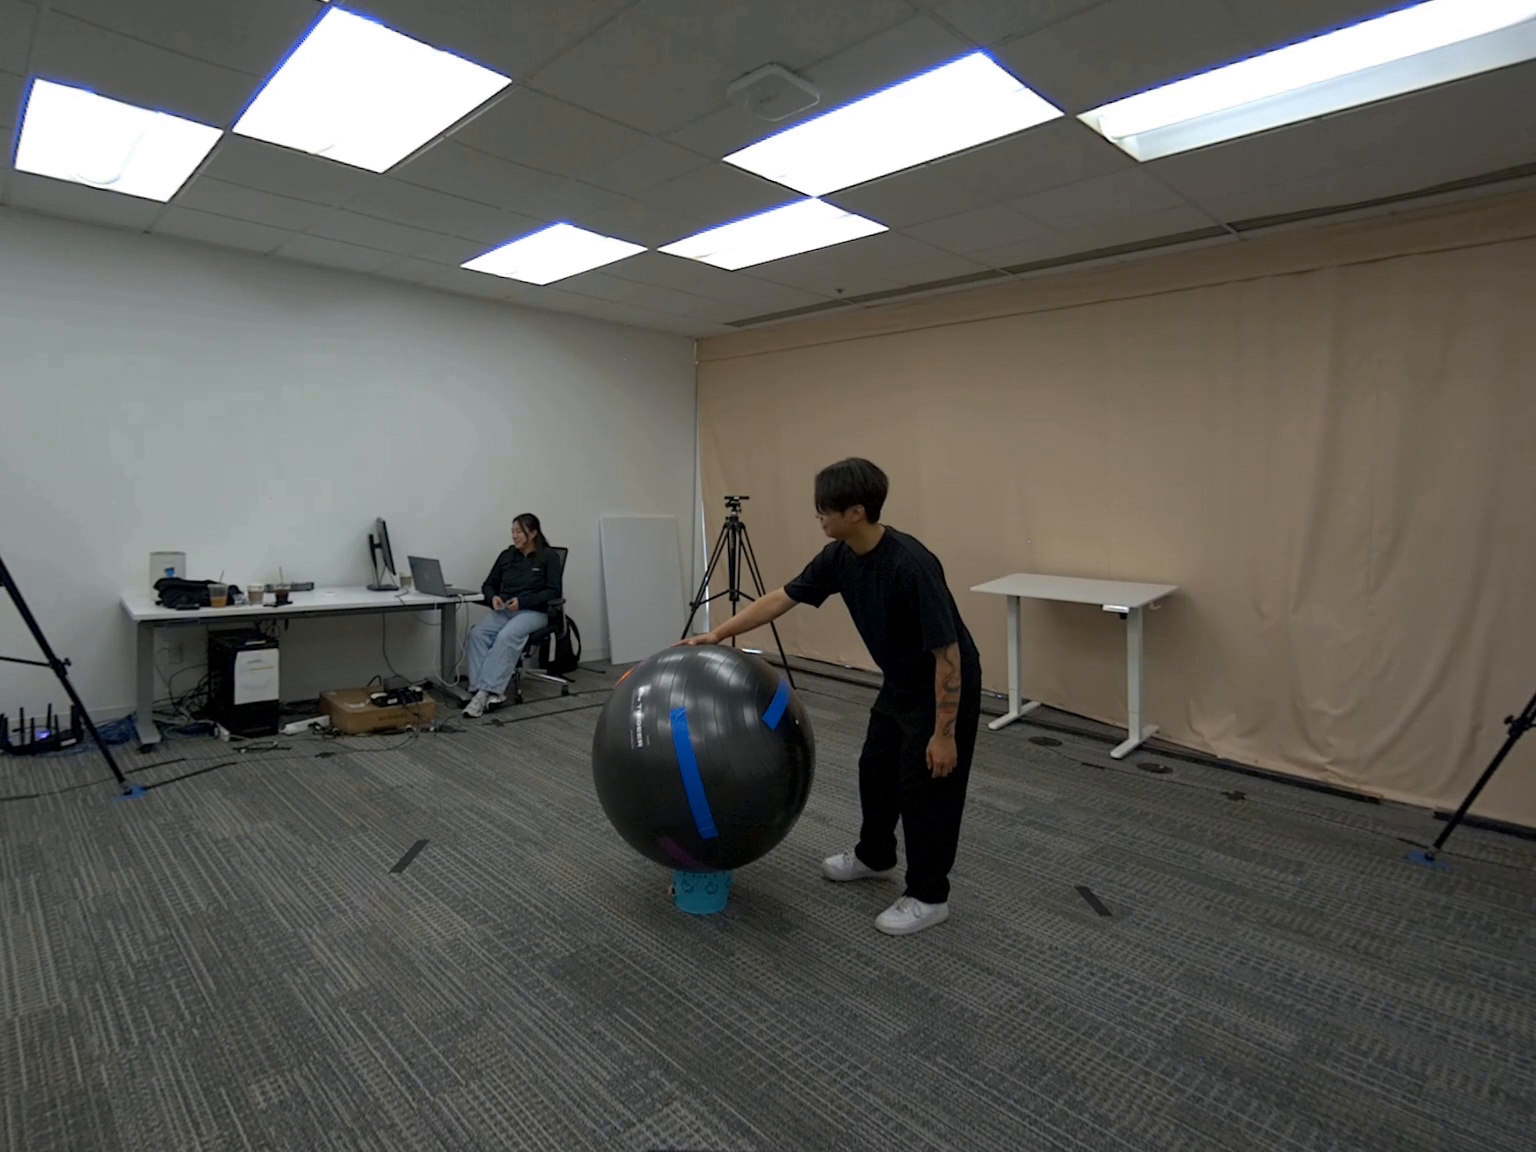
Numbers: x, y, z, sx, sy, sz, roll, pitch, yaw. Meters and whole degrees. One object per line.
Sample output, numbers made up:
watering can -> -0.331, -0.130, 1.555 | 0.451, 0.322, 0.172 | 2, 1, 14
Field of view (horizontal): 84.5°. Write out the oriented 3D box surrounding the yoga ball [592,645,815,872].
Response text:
yoga ball -> -0.234, 0.614, 2.877 | 0.757, 0.756, 0.761 | 1, 4, -1
